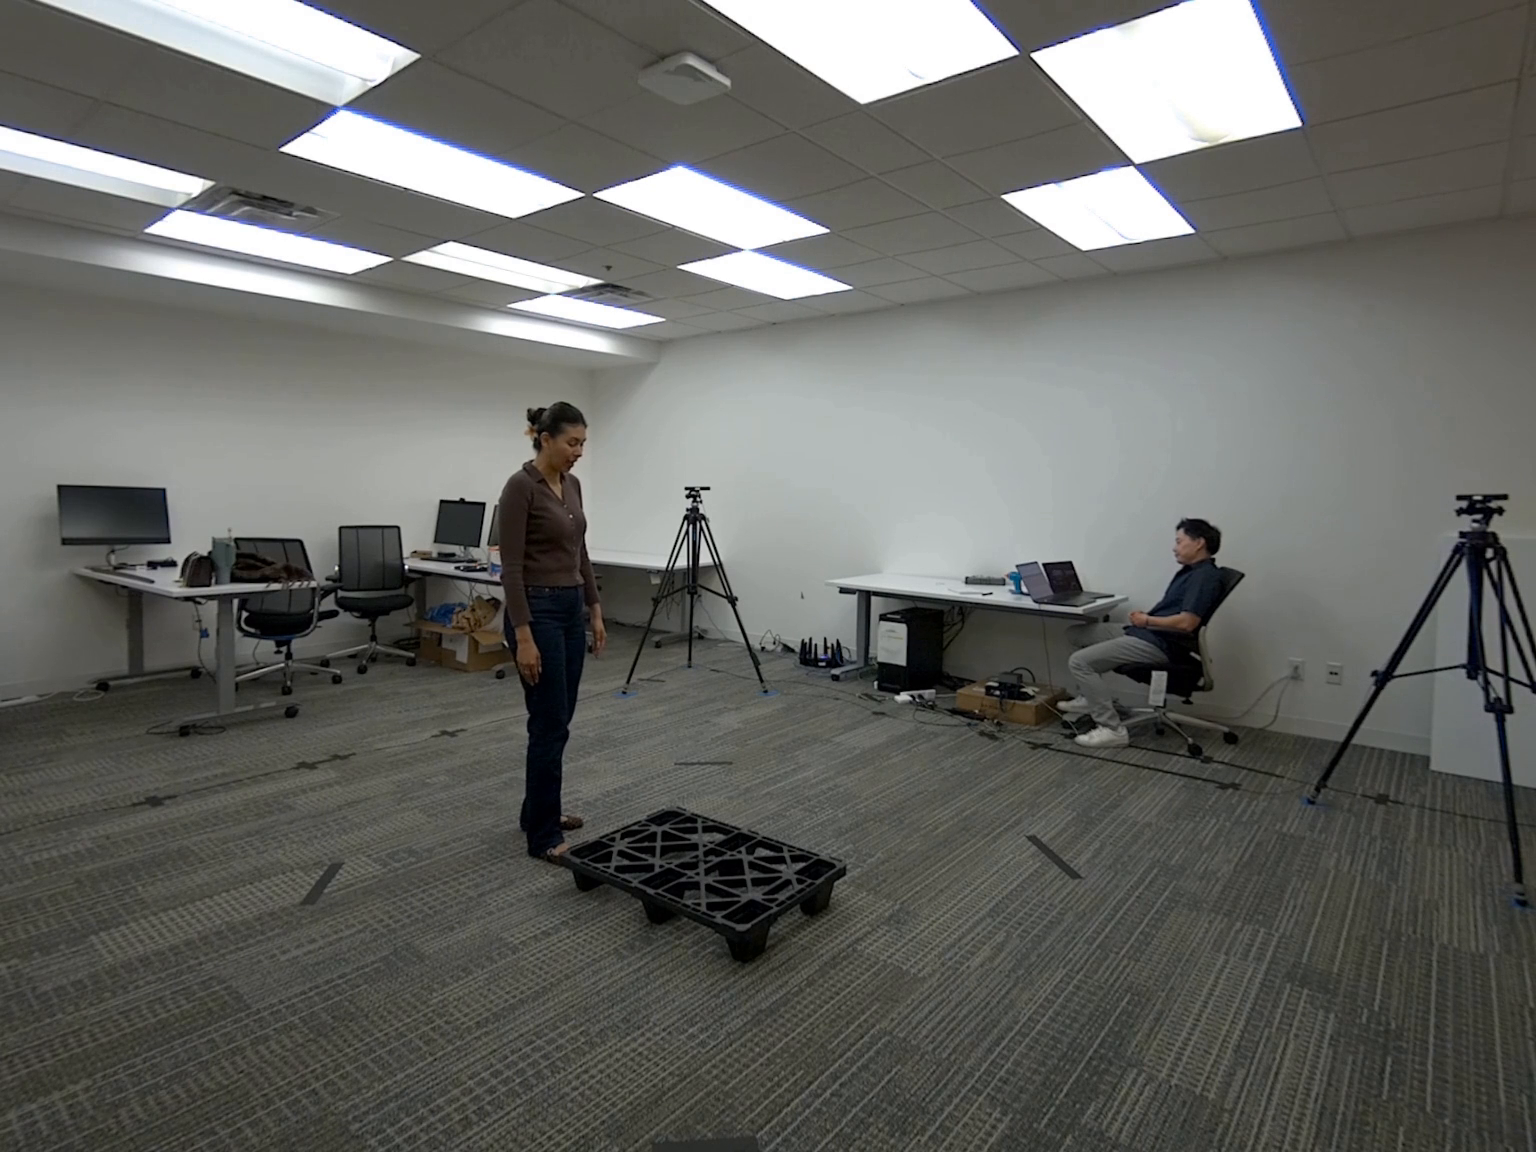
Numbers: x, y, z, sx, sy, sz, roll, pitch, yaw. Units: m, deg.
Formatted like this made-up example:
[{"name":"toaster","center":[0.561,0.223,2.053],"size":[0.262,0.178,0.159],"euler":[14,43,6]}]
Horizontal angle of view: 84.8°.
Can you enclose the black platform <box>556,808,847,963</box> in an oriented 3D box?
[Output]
[{"name":"black platform","center":[-0.237,1.019,2.892],"size":[0.832,0.143,0.587],"euler":[5,6,37]}]
